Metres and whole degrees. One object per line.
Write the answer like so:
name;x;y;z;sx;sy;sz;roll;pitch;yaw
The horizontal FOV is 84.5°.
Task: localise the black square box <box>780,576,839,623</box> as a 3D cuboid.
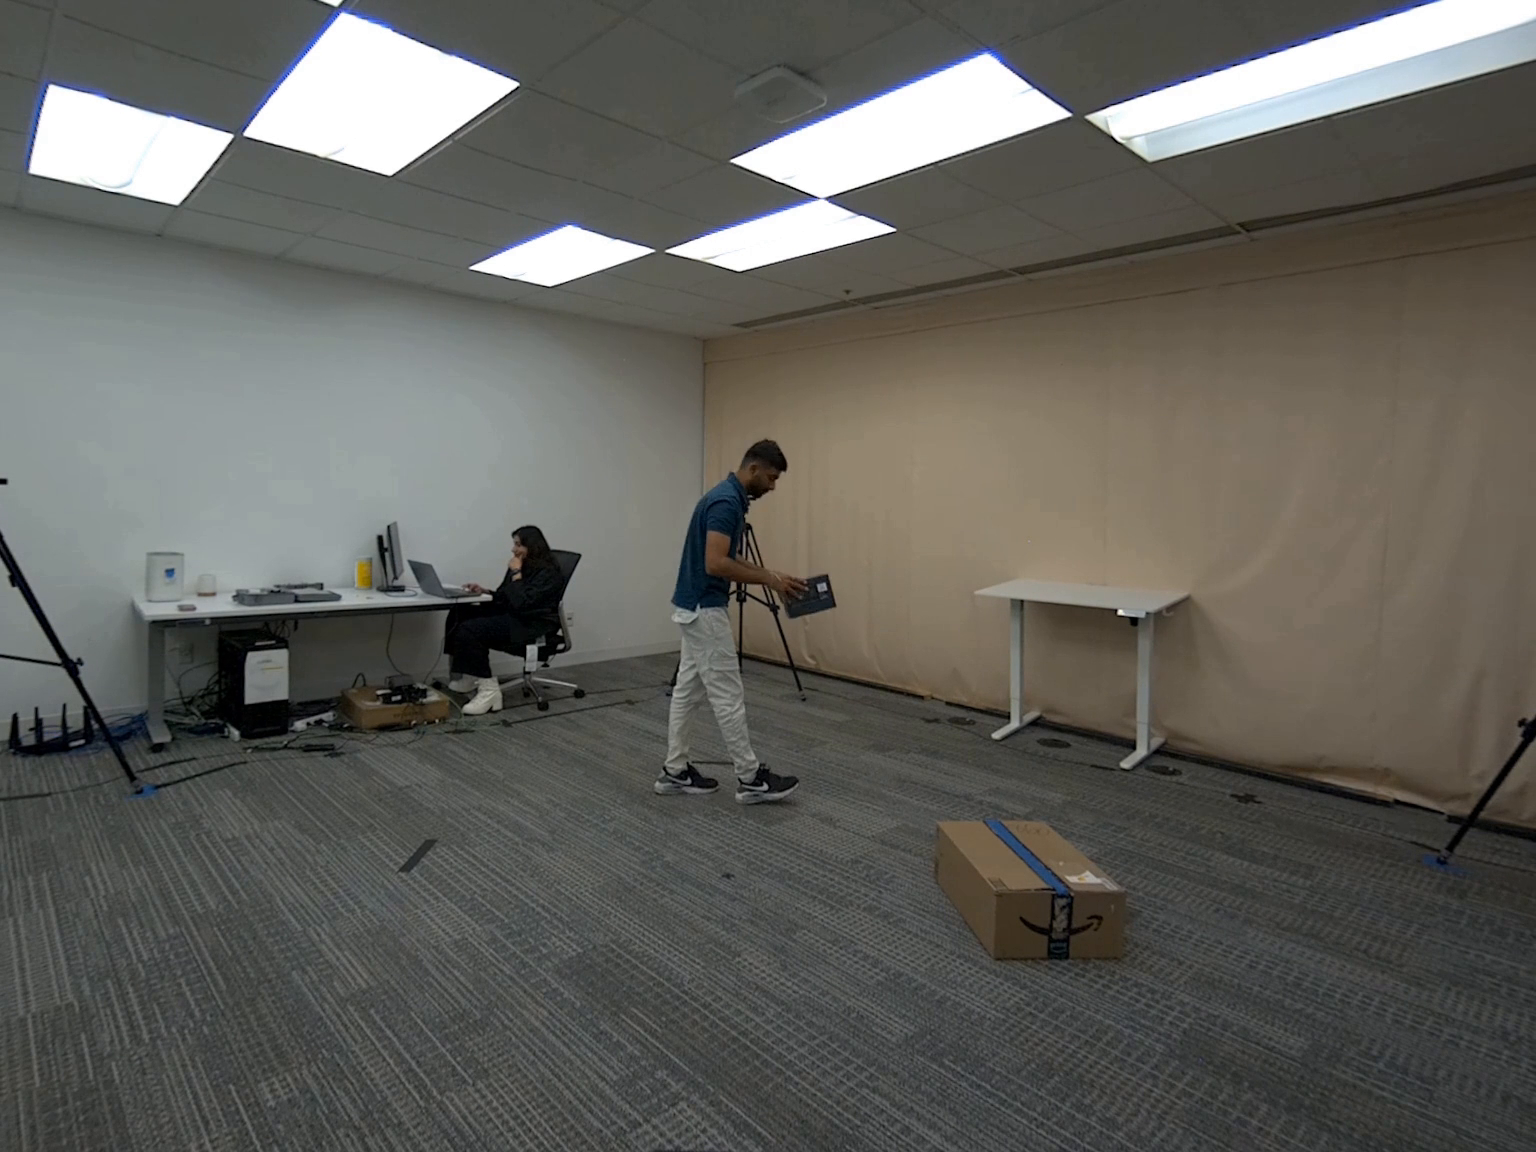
black square box;0.180;0.103;3.884;0.216;0.156;0.228;-13;2;-4
